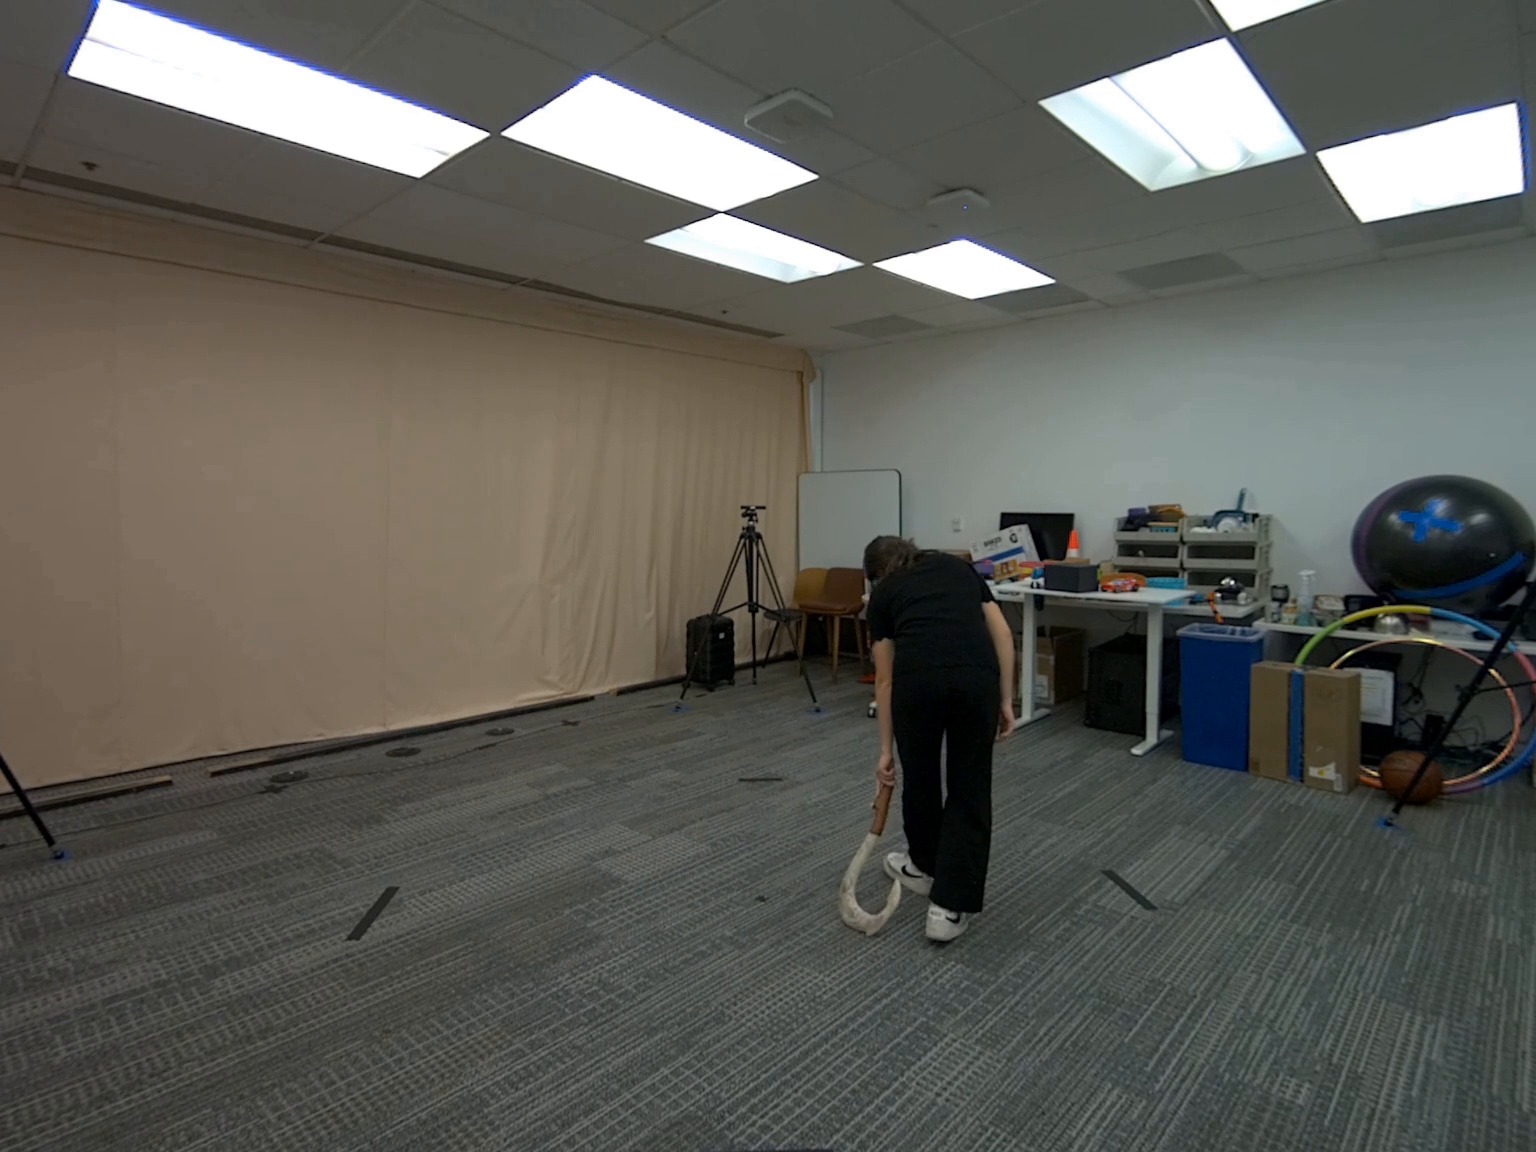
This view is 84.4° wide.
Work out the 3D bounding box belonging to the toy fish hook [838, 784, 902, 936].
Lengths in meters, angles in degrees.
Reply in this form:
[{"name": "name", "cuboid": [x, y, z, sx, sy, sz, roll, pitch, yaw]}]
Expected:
[{"name": "toy fish hook", "cuboid": [0.386, 0.938, 2.821, 0.232, 0.508, 0.046, 5, -20, 44]}]
